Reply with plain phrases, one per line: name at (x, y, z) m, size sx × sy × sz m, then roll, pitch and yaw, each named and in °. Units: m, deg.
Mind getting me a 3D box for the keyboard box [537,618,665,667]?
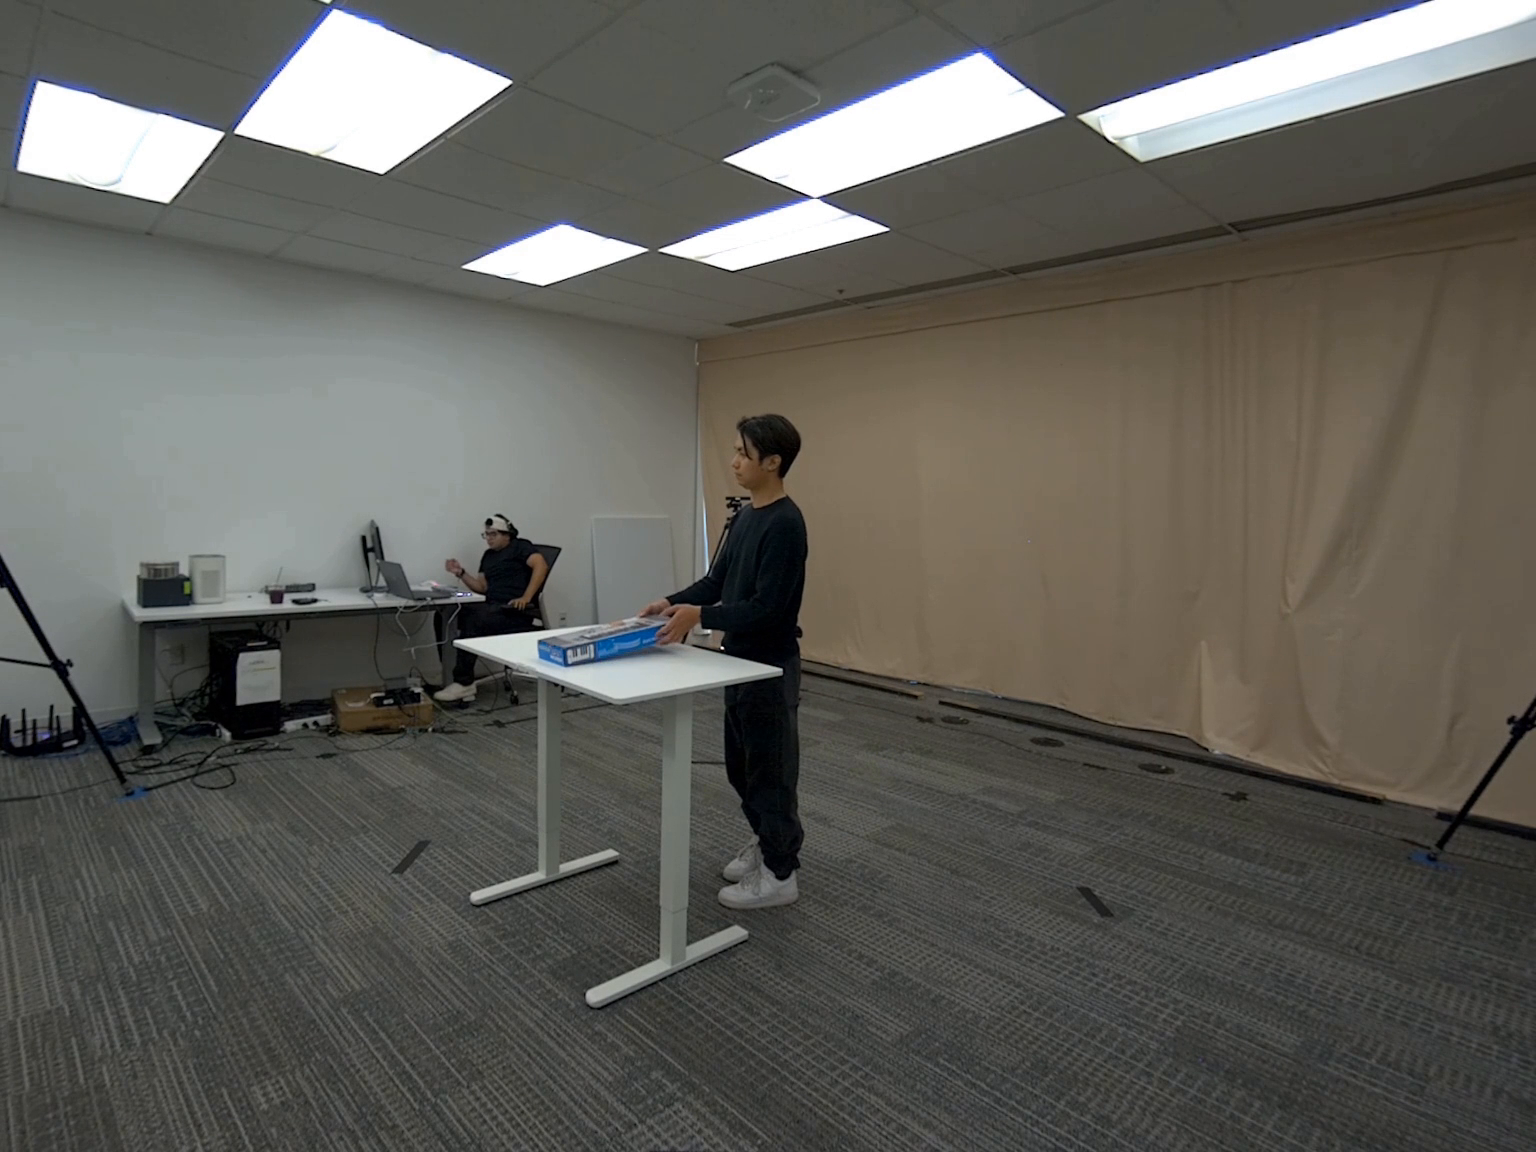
keyboard box at (-0.503, 0.201, 2.688) m, size 0.428 × 0.059 × 0.180 m, roll -11°, pitch 12°, yaw -38°
